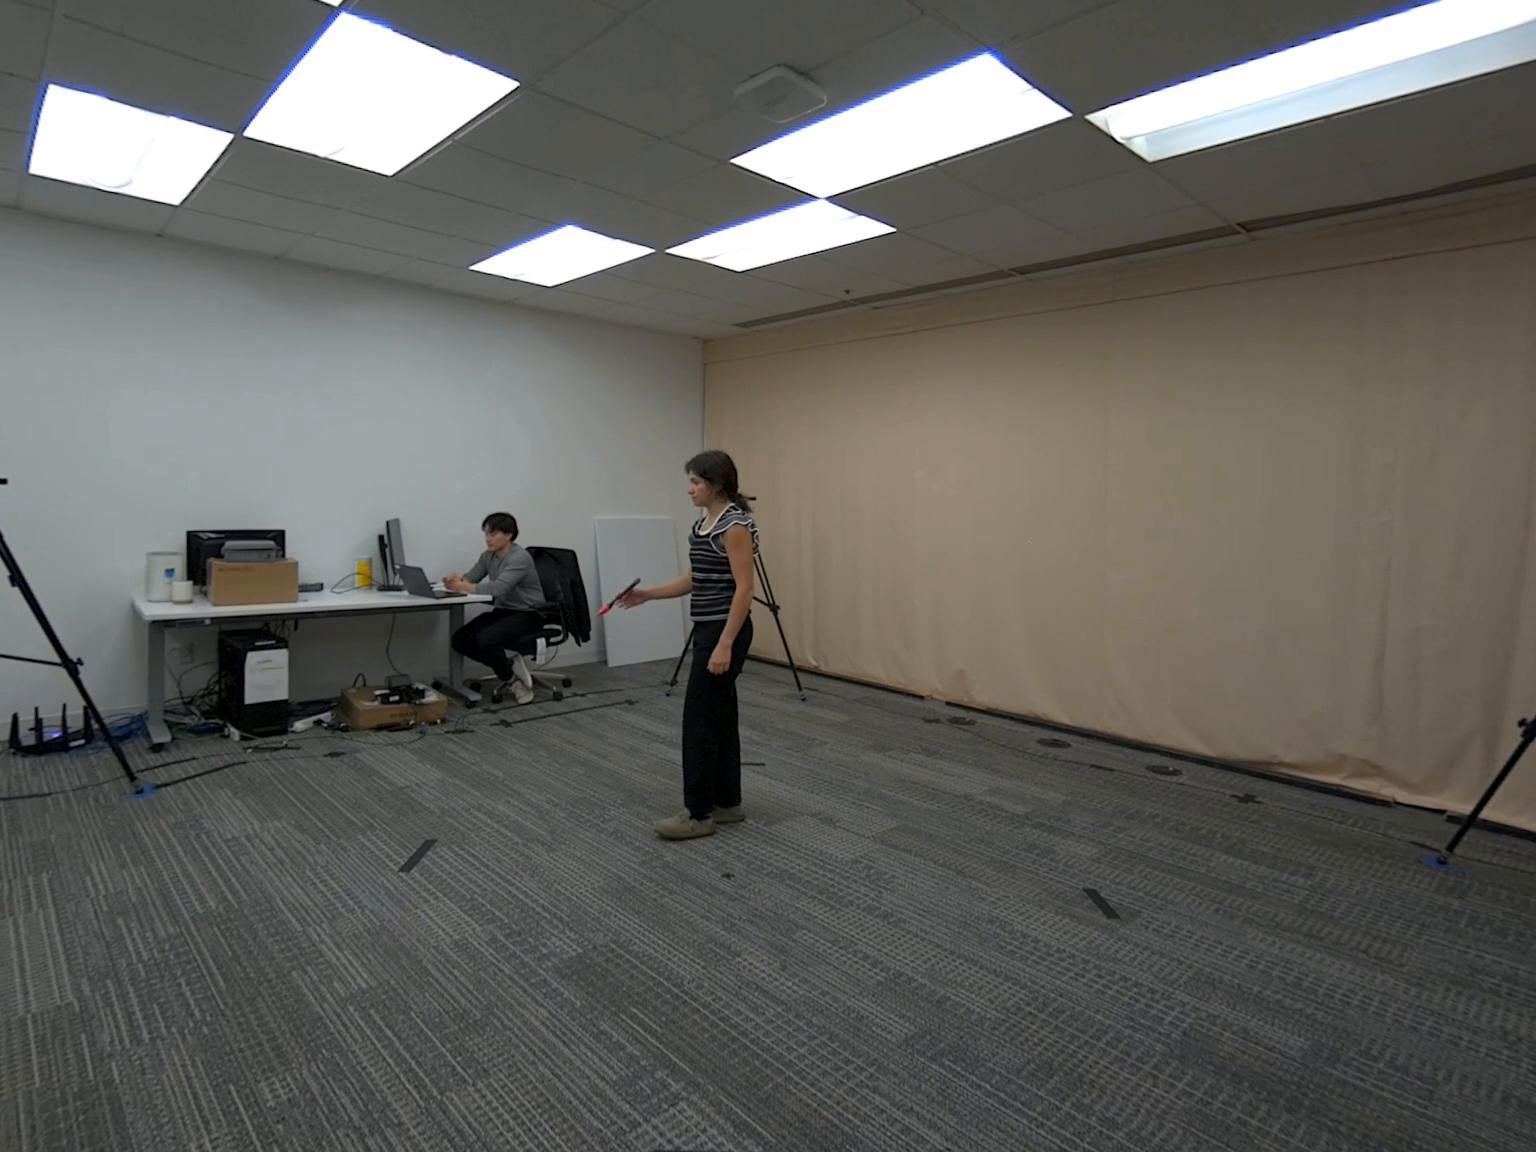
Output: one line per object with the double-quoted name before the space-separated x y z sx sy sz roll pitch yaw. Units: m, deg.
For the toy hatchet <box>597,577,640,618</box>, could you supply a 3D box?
"toy hatchet" -0.653 0.103 3.599 0.271 0.029 0.131 -36 8 39
